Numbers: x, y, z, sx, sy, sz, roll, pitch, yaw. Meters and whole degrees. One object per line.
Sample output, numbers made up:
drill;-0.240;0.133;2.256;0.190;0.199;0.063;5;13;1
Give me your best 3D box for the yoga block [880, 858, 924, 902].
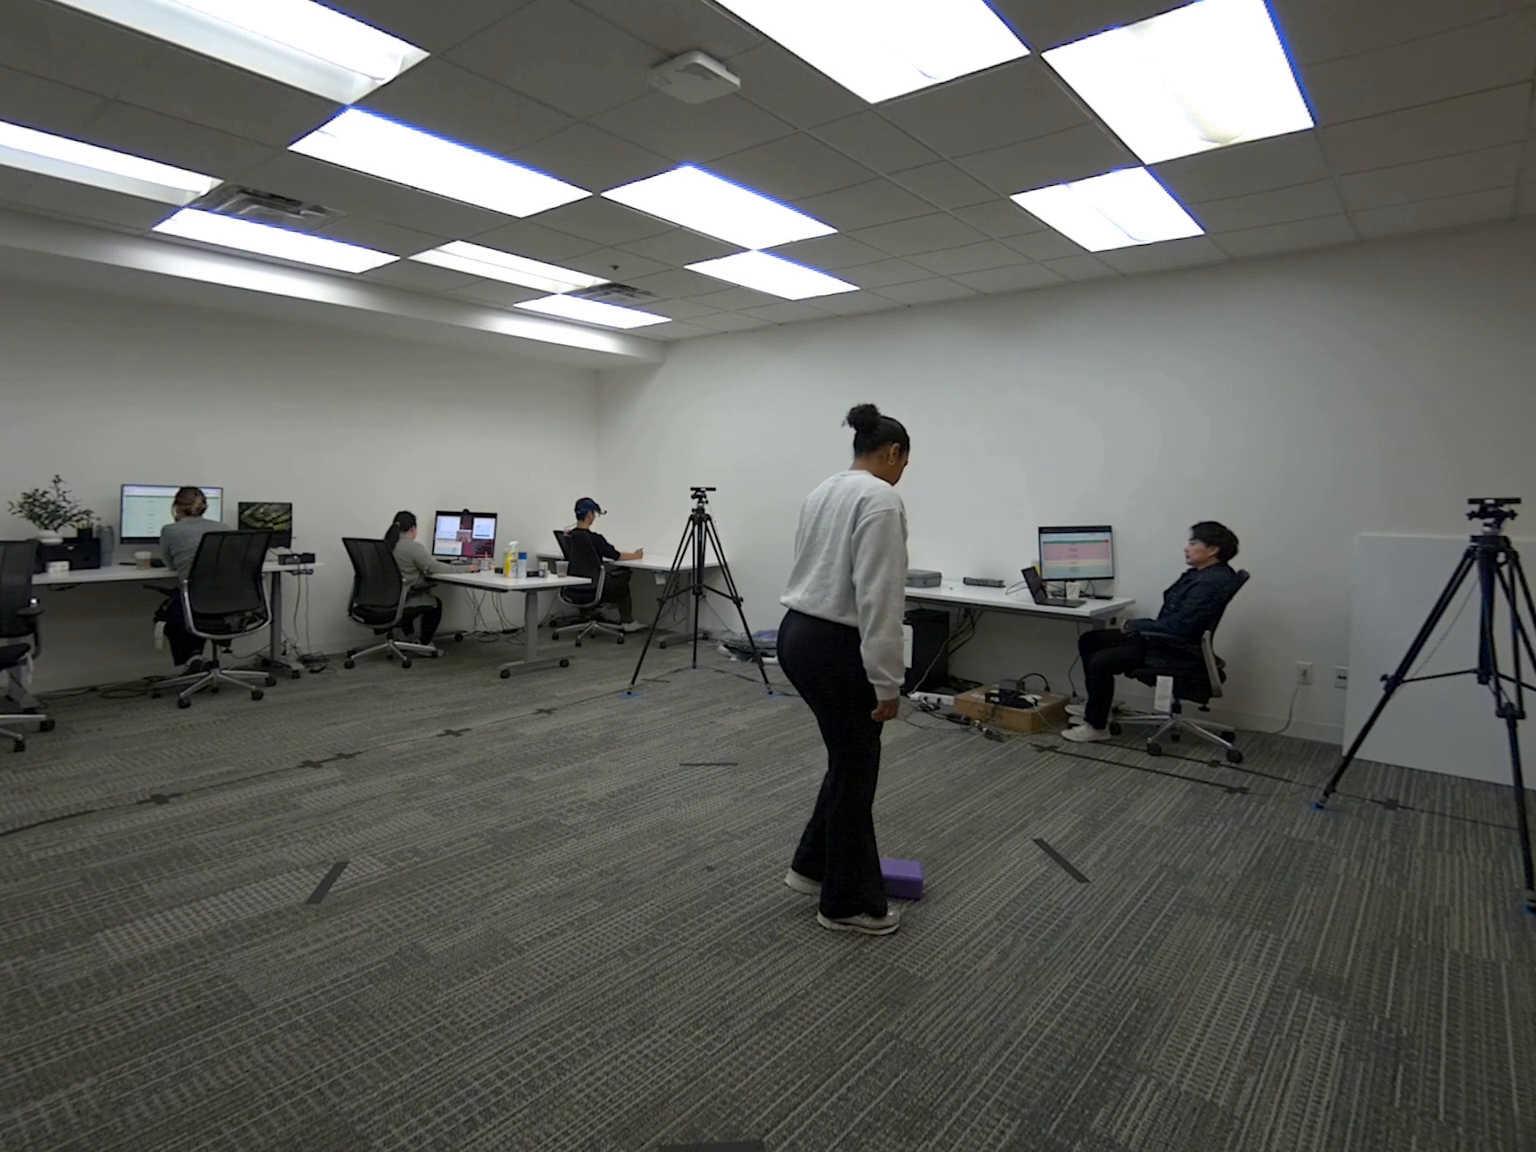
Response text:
yoga block;0.414;1.045;2.982;0.231;0.076;0.148;2;6;7
